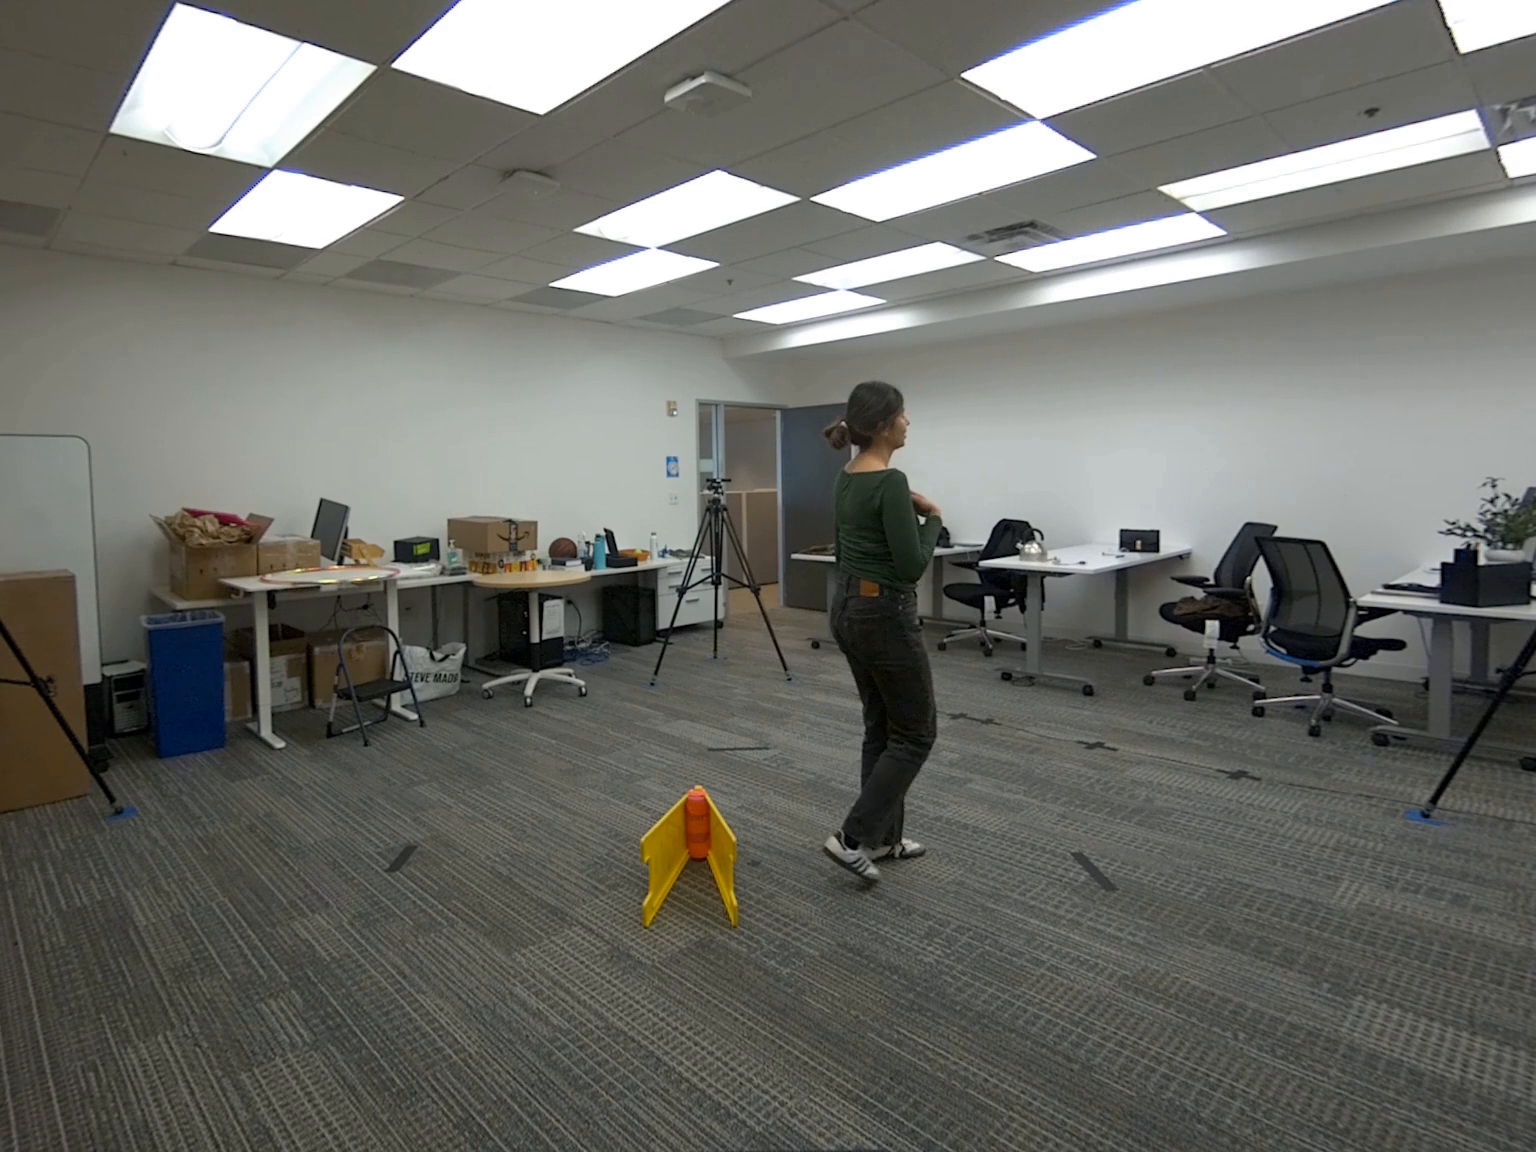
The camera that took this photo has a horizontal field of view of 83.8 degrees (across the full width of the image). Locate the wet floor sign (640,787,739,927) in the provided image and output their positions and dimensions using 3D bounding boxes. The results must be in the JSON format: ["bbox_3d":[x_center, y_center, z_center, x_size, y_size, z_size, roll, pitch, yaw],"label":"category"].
[{"bbox_3d":[-0.254,0.928,2.986,0.289,0.281,0.648,-1,4,-2],"label":"wet floor sign"}]
